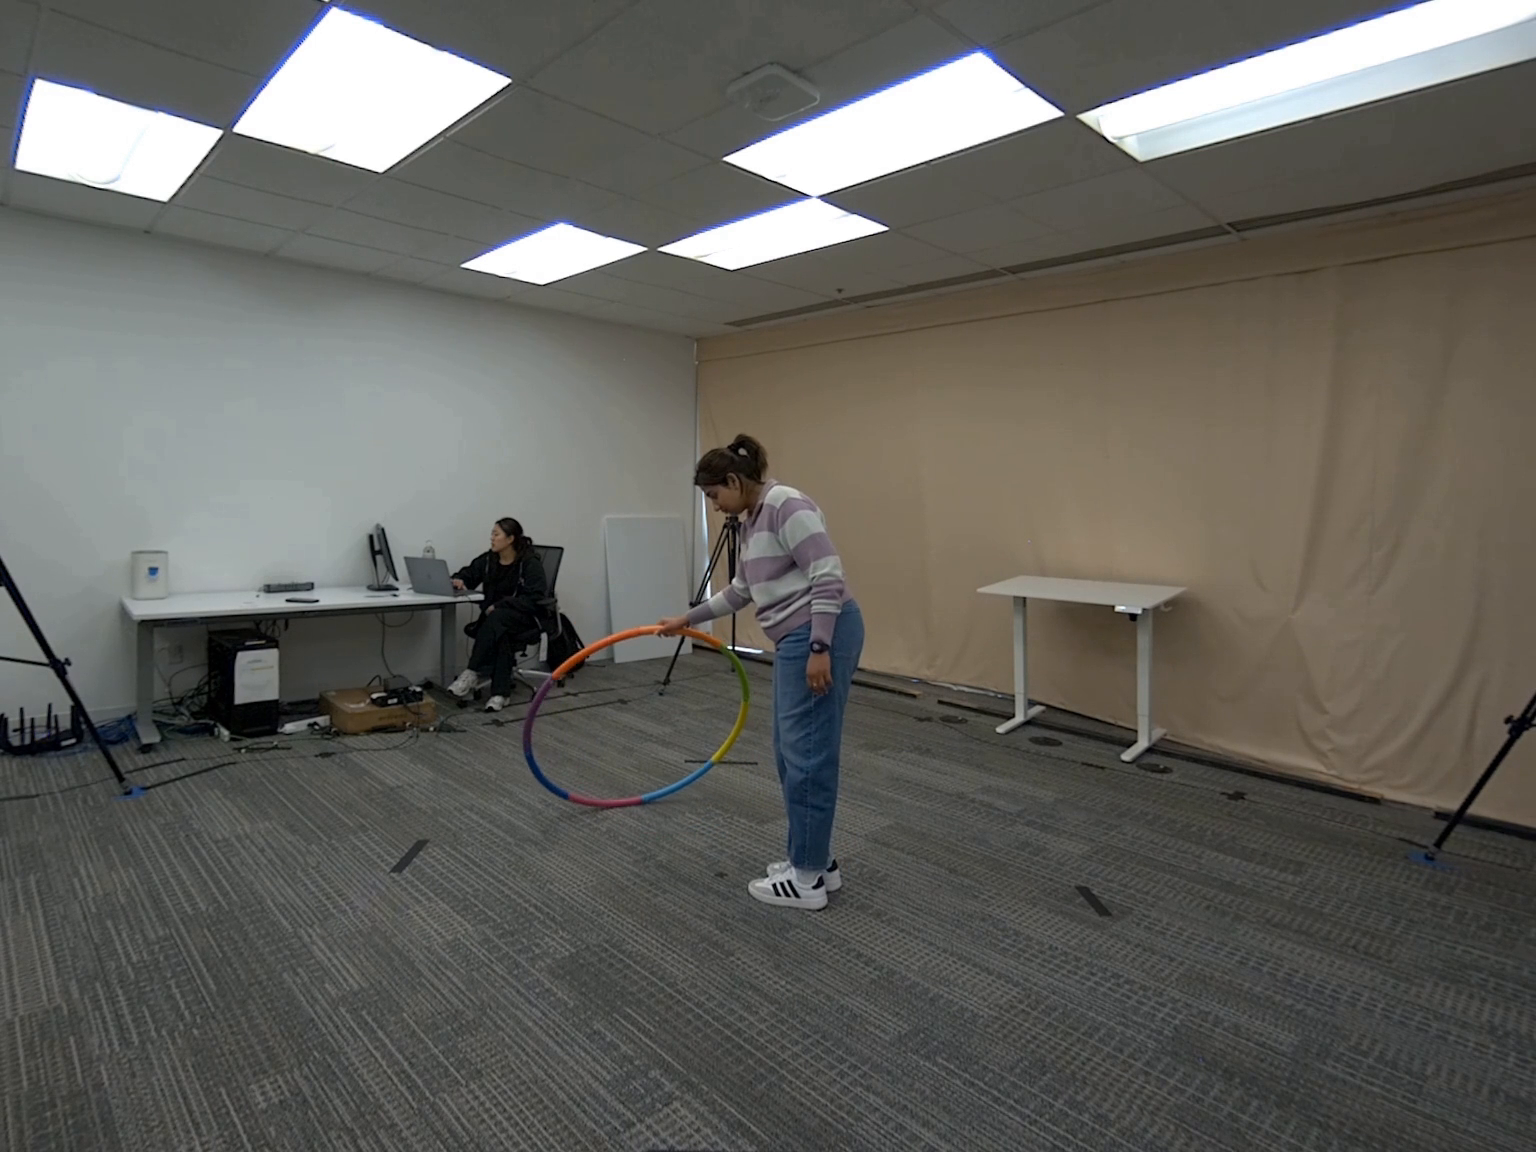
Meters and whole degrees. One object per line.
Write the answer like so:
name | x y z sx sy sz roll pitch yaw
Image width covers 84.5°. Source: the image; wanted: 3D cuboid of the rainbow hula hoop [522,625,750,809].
rainbow hula hoop | -0.545 0.615 3.564 0.961 0.966 0.036 0 32 -25
